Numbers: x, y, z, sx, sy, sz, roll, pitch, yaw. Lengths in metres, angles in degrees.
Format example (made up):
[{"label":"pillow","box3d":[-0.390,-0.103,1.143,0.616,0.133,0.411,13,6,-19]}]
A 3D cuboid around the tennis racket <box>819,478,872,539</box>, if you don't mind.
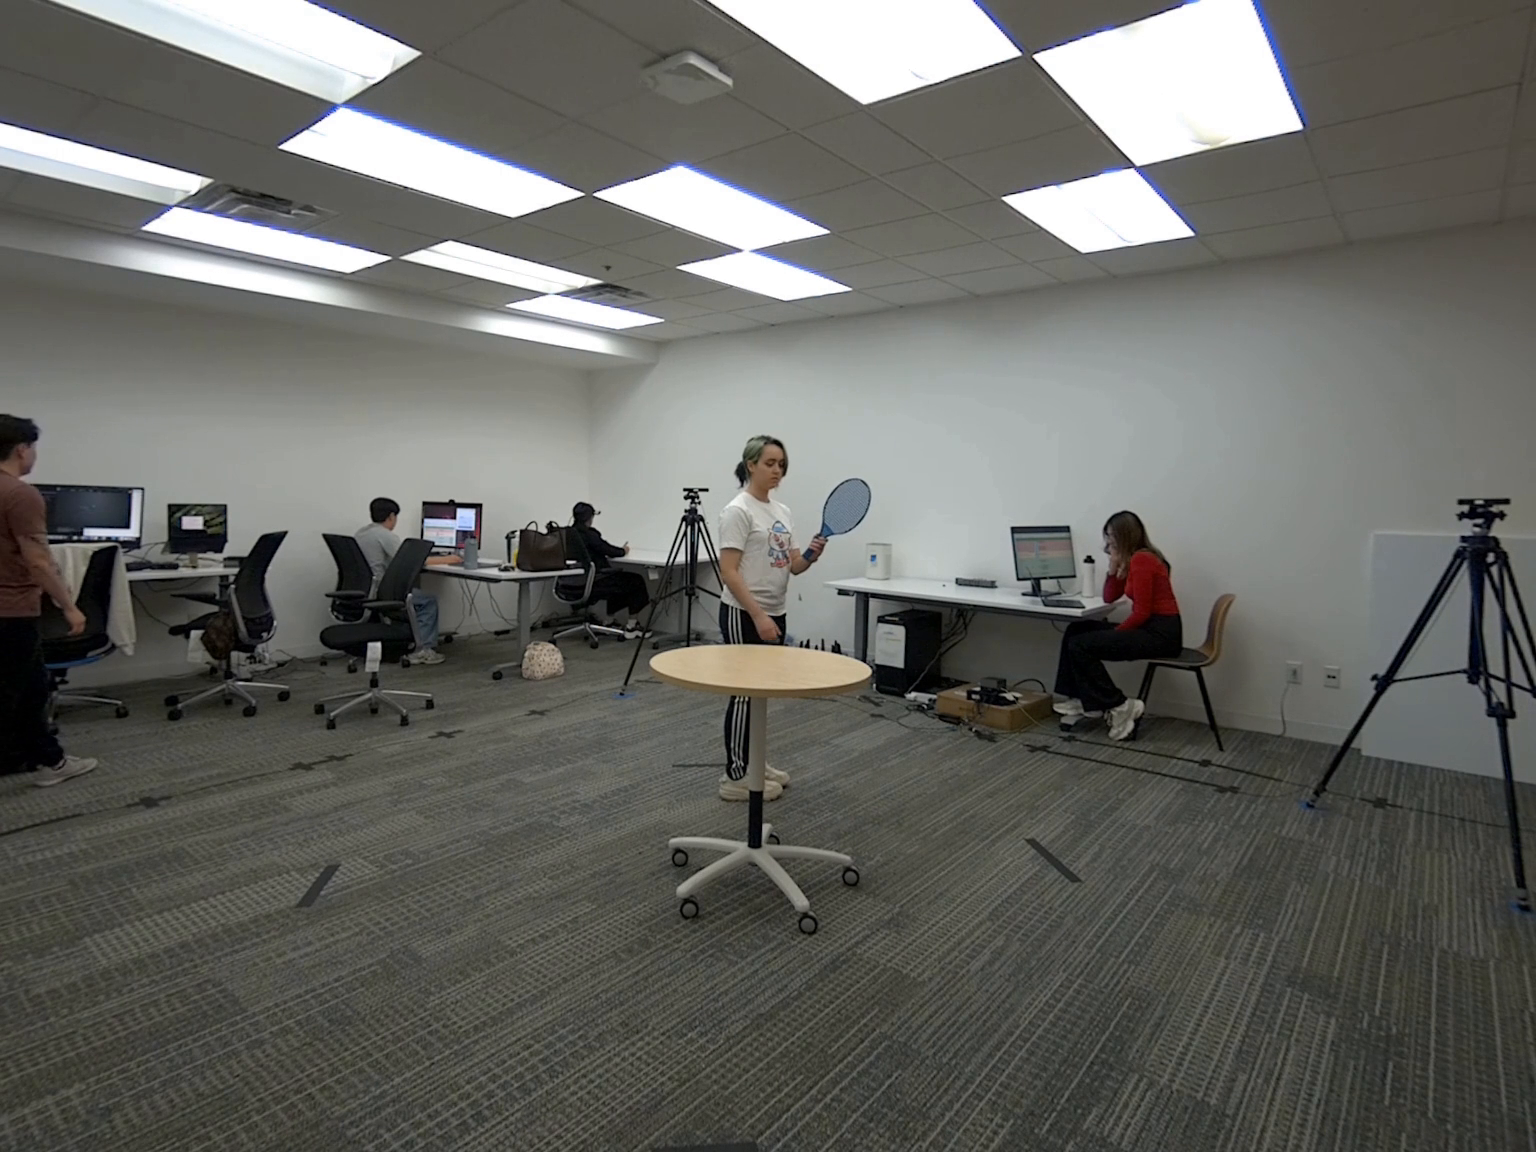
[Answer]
[{"label":"tennis racket","box3d":[0.269,-0.250,3.705,0.030,0.433,0.222,19,30,-47]}]
